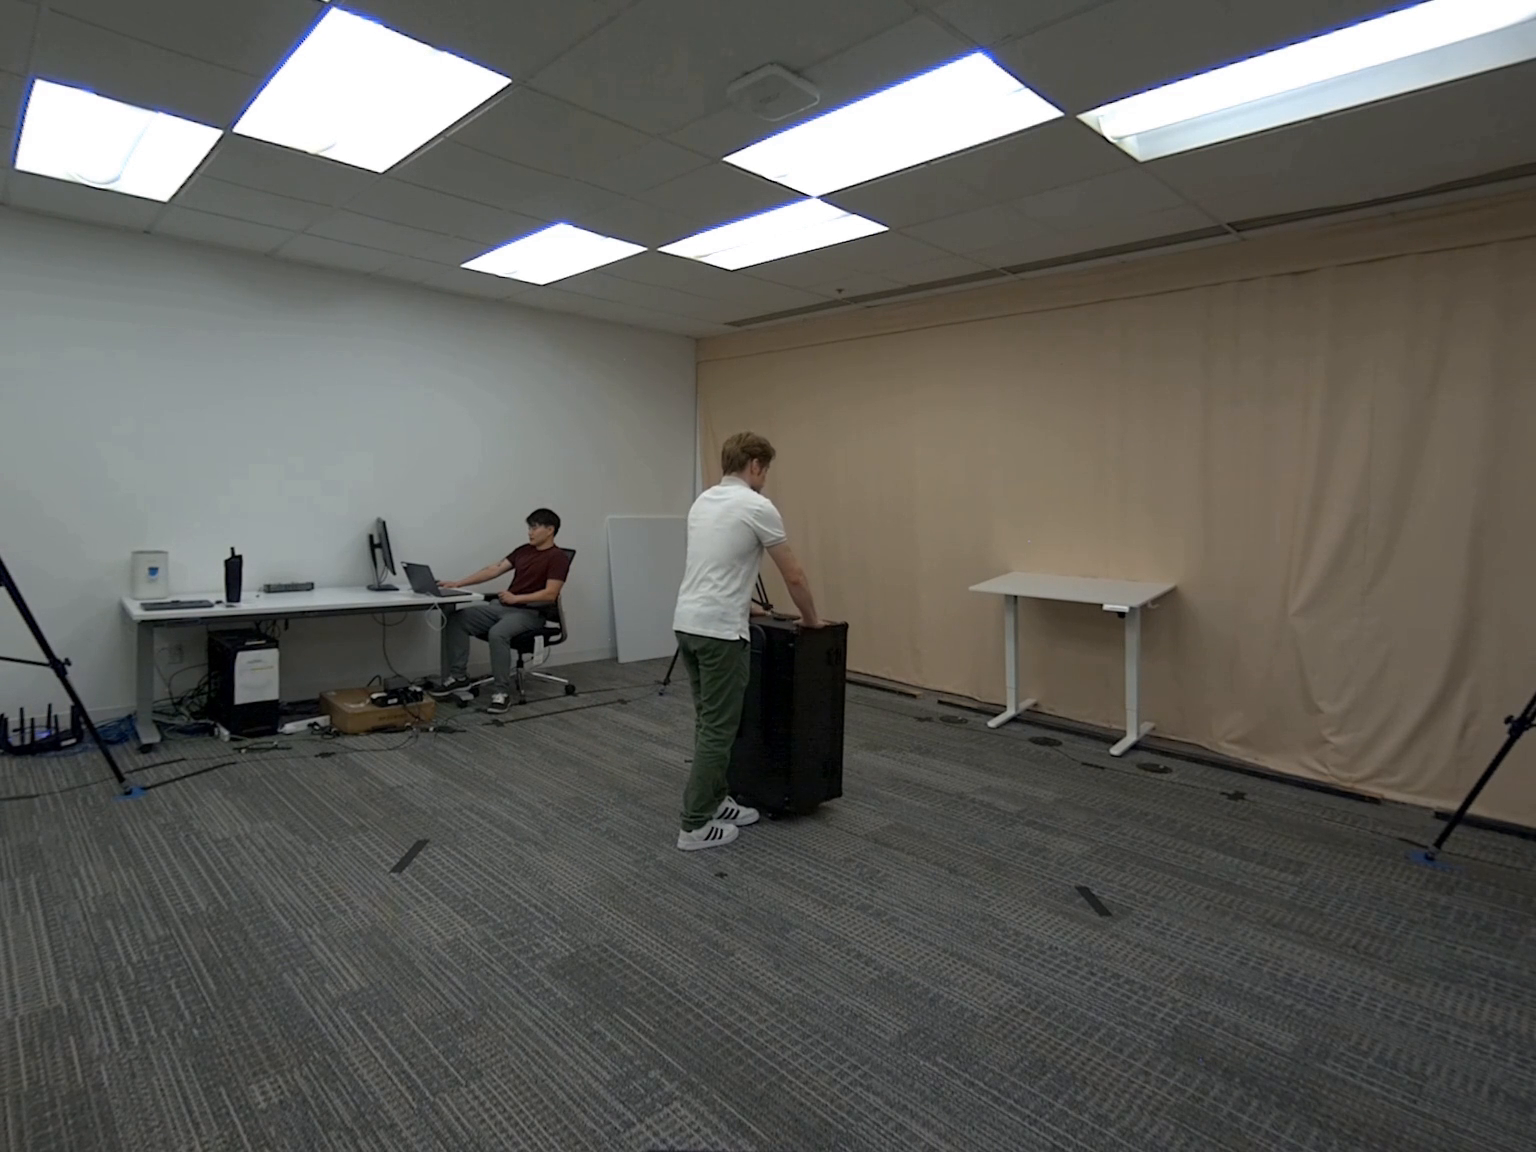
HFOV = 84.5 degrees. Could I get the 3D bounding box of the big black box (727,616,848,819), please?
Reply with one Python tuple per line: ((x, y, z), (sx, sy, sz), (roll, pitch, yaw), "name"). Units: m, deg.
((0.043, 0.627, 3.801), (0.537, 0.867, 0.376), (4, 4, 44), "big black box")
